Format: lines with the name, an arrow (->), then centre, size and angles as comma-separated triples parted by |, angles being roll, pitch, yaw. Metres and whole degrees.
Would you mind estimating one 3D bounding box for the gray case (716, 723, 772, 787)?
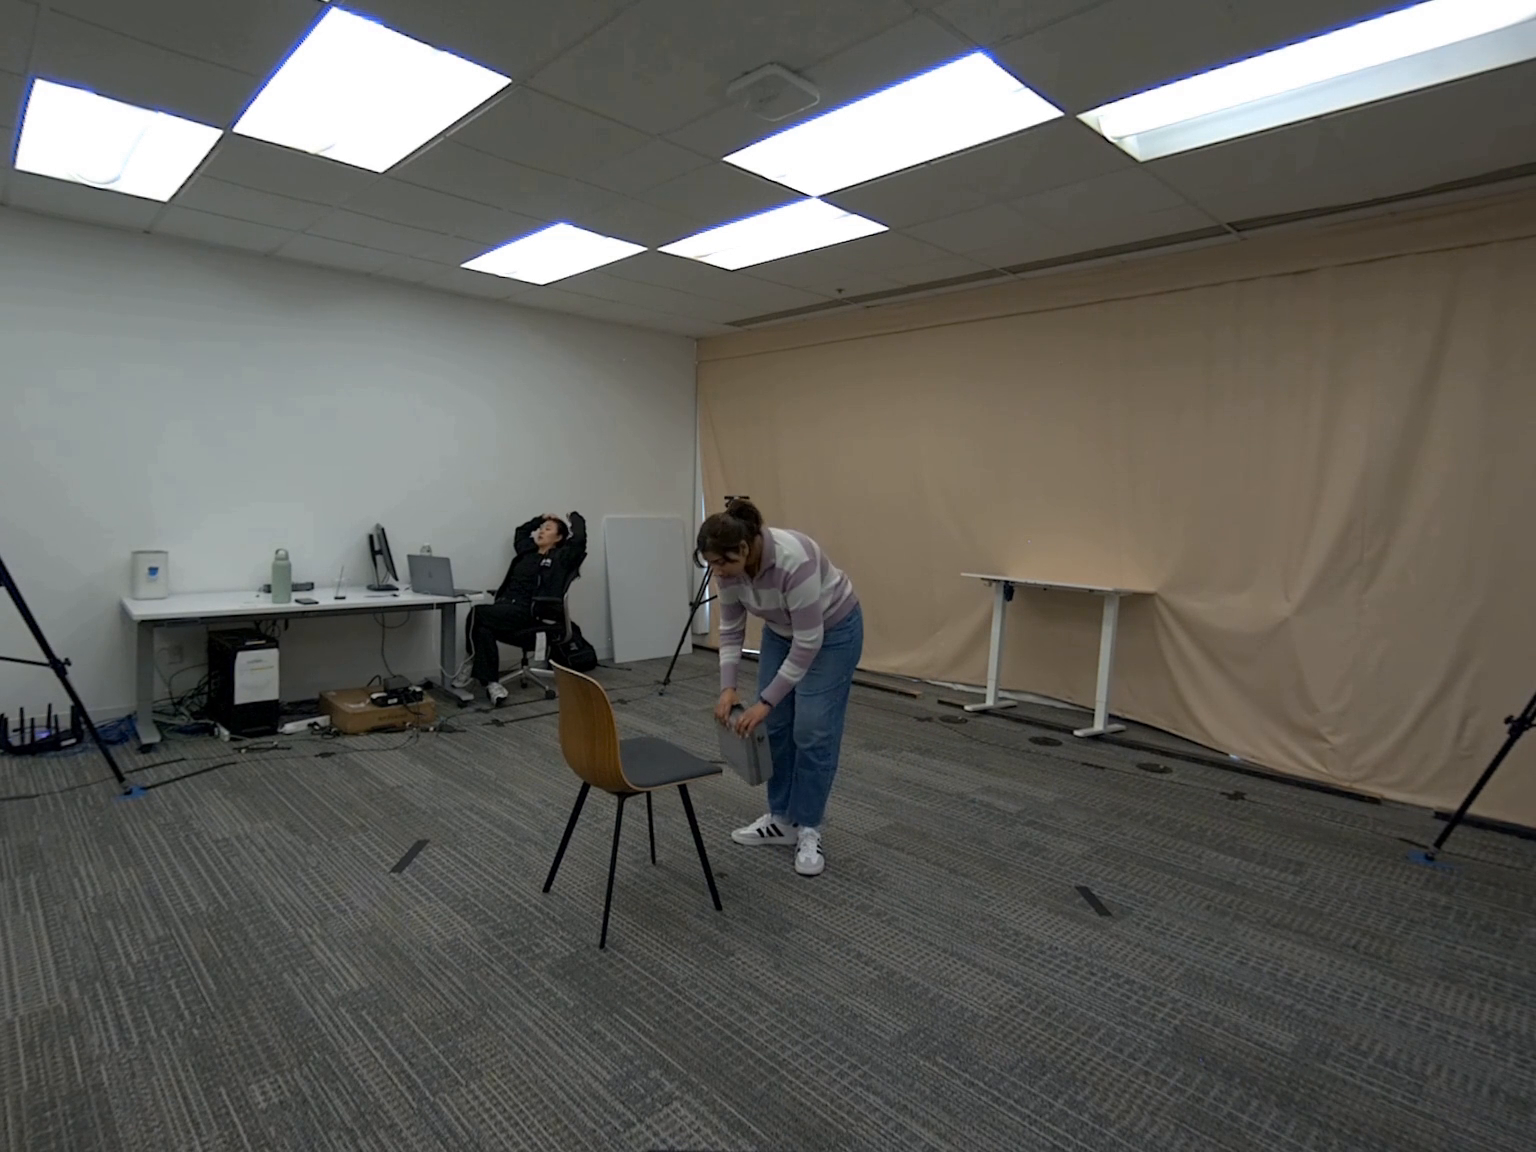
gray case -> -0.110, 0.634, 3.204 | 0.103, 0.257, 0.264 | -14, 20, -26
